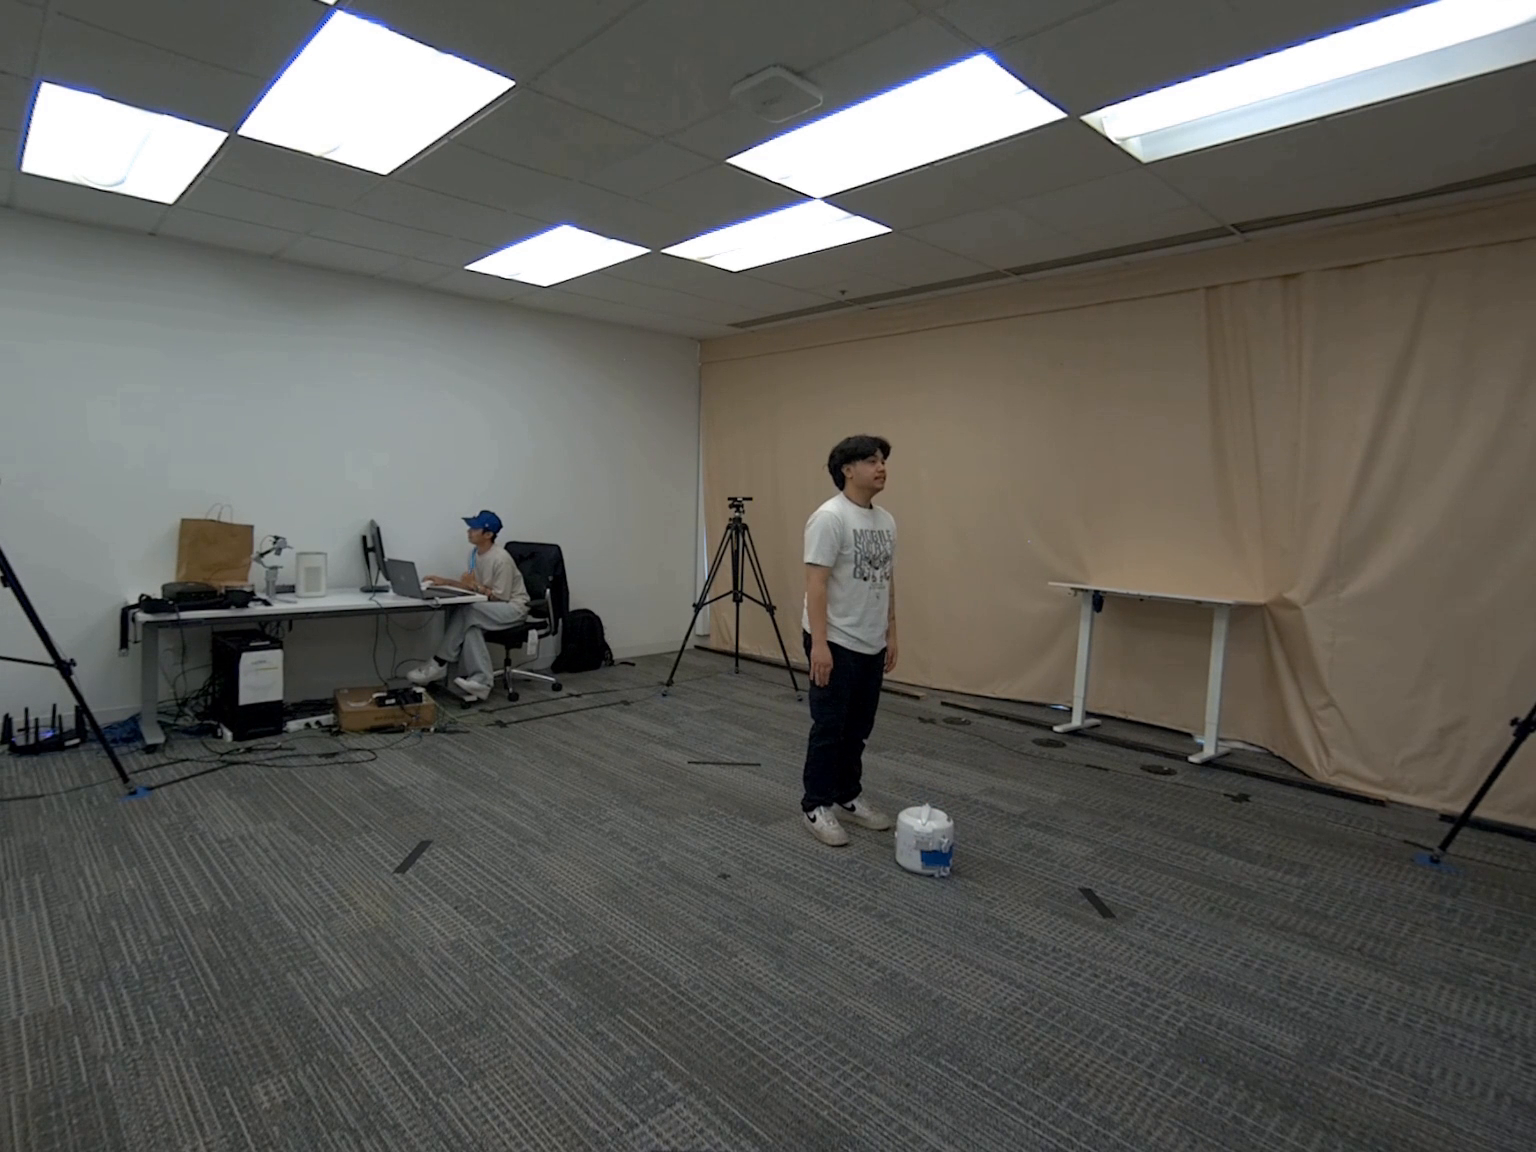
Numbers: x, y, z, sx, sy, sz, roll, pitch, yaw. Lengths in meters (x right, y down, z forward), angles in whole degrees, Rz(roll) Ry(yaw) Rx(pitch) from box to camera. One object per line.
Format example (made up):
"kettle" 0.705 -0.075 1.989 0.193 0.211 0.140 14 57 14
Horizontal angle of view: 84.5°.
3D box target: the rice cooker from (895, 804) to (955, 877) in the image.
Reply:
"rice cooker" 0.590 0.998 3.222 0.220 0.232 0.218 4 4 16
